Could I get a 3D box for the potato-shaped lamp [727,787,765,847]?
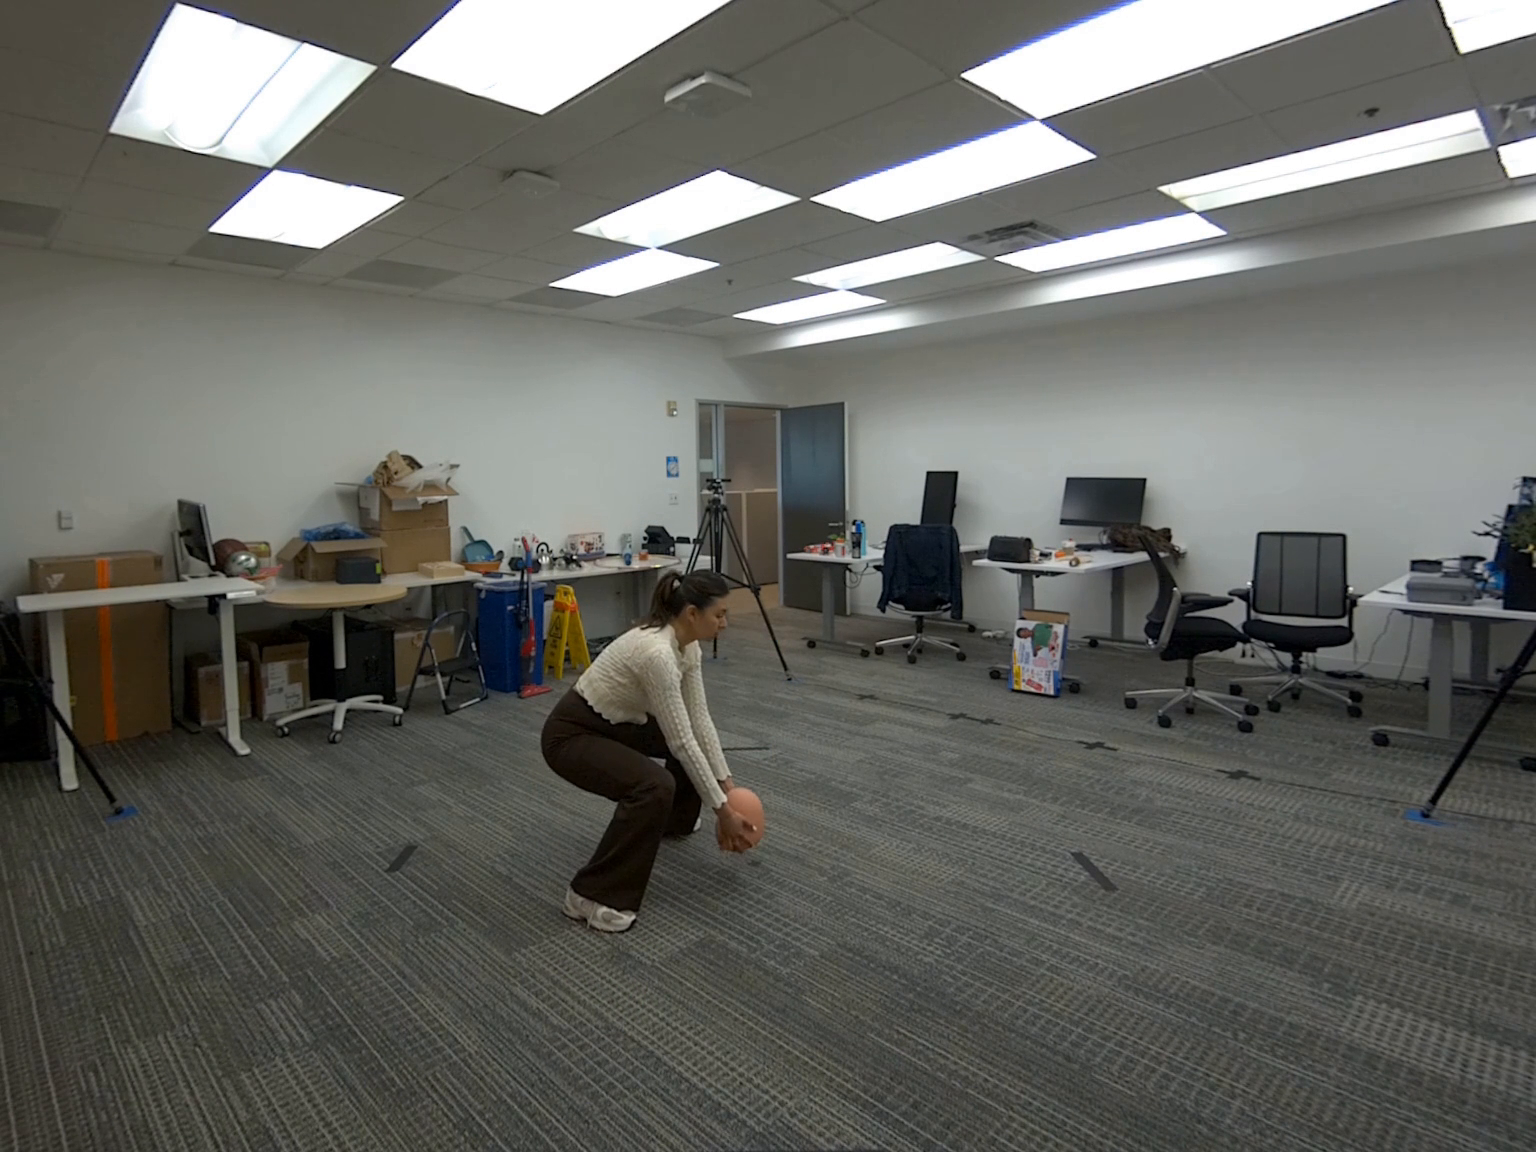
[{"bbox_3d":[-0.098,0.822,2.956,0.173,0.199,0.162,-7,-3,11],"label":"potato-shaped lamp"}]
